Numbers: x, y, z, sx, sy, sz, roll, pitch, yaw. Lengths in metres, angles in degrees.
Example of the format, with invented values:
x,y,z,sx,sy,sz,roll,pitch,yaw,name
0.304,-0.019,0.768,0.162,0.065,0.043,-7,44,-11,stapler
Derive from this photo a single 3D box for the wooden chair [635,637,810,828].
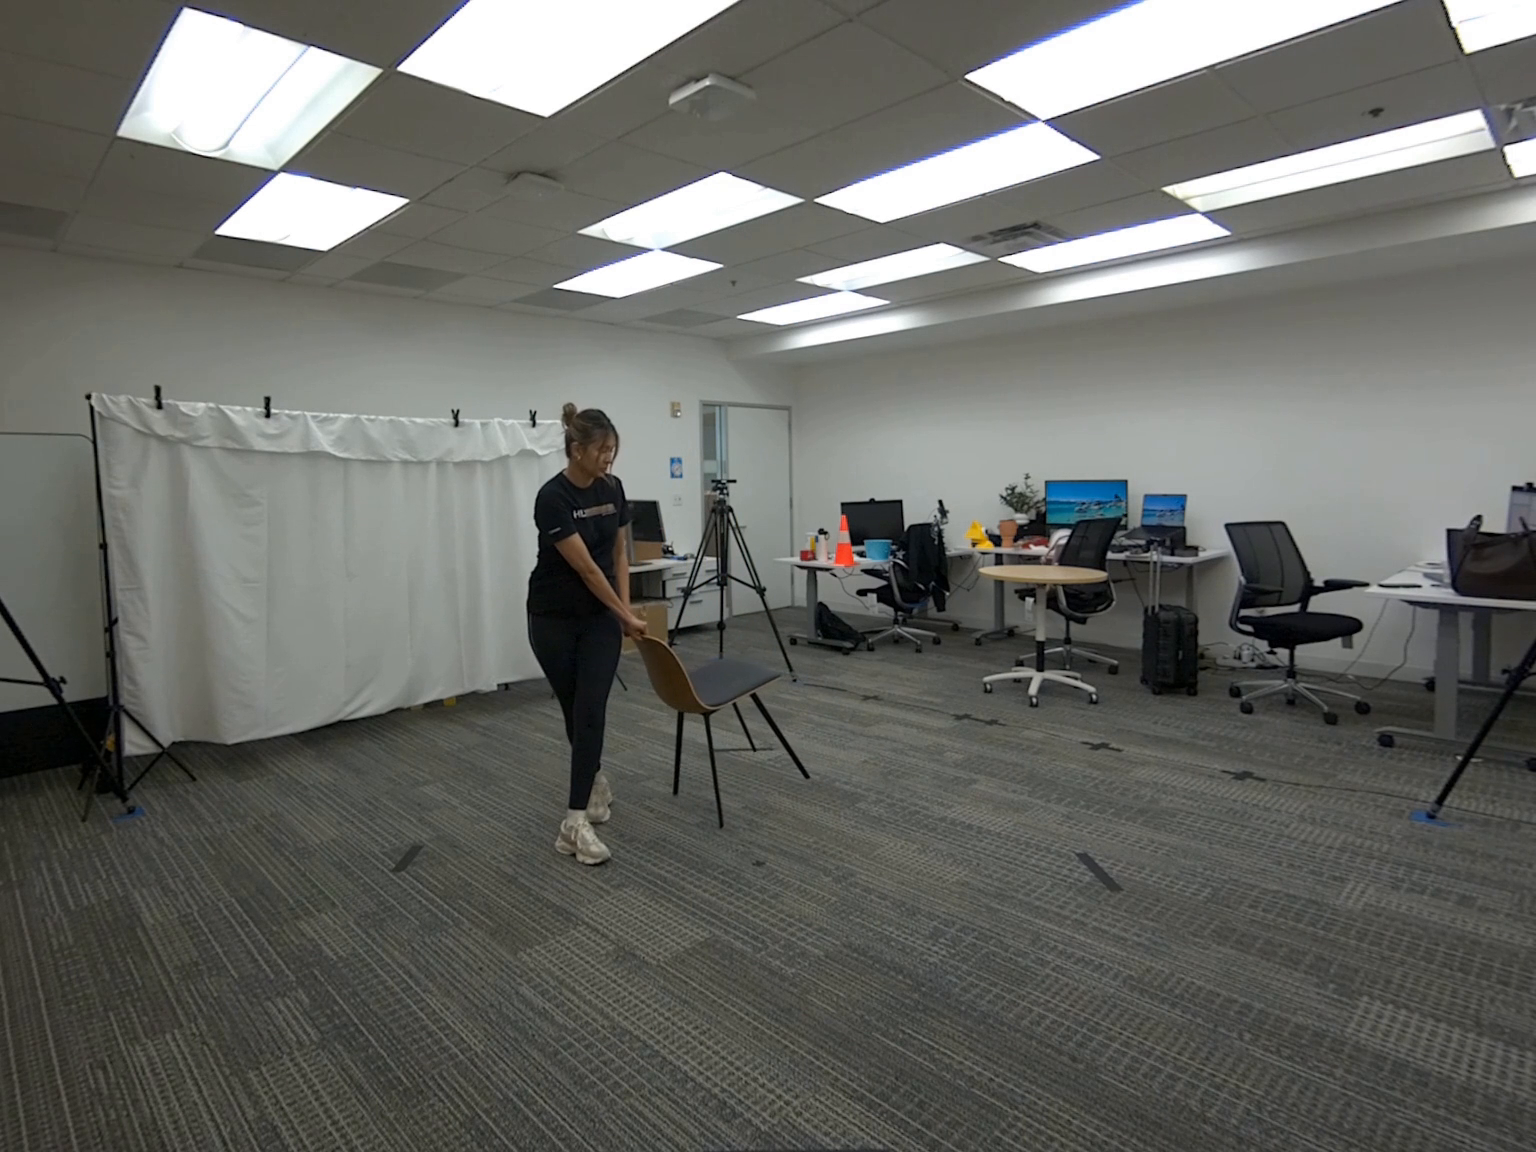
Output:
x,y,z,sx,sy,sz,roll,pitch,yaw,name
-0.225,0.517,3.640,0.517,0.864,0.491,-26,15,-26,wooden chair
